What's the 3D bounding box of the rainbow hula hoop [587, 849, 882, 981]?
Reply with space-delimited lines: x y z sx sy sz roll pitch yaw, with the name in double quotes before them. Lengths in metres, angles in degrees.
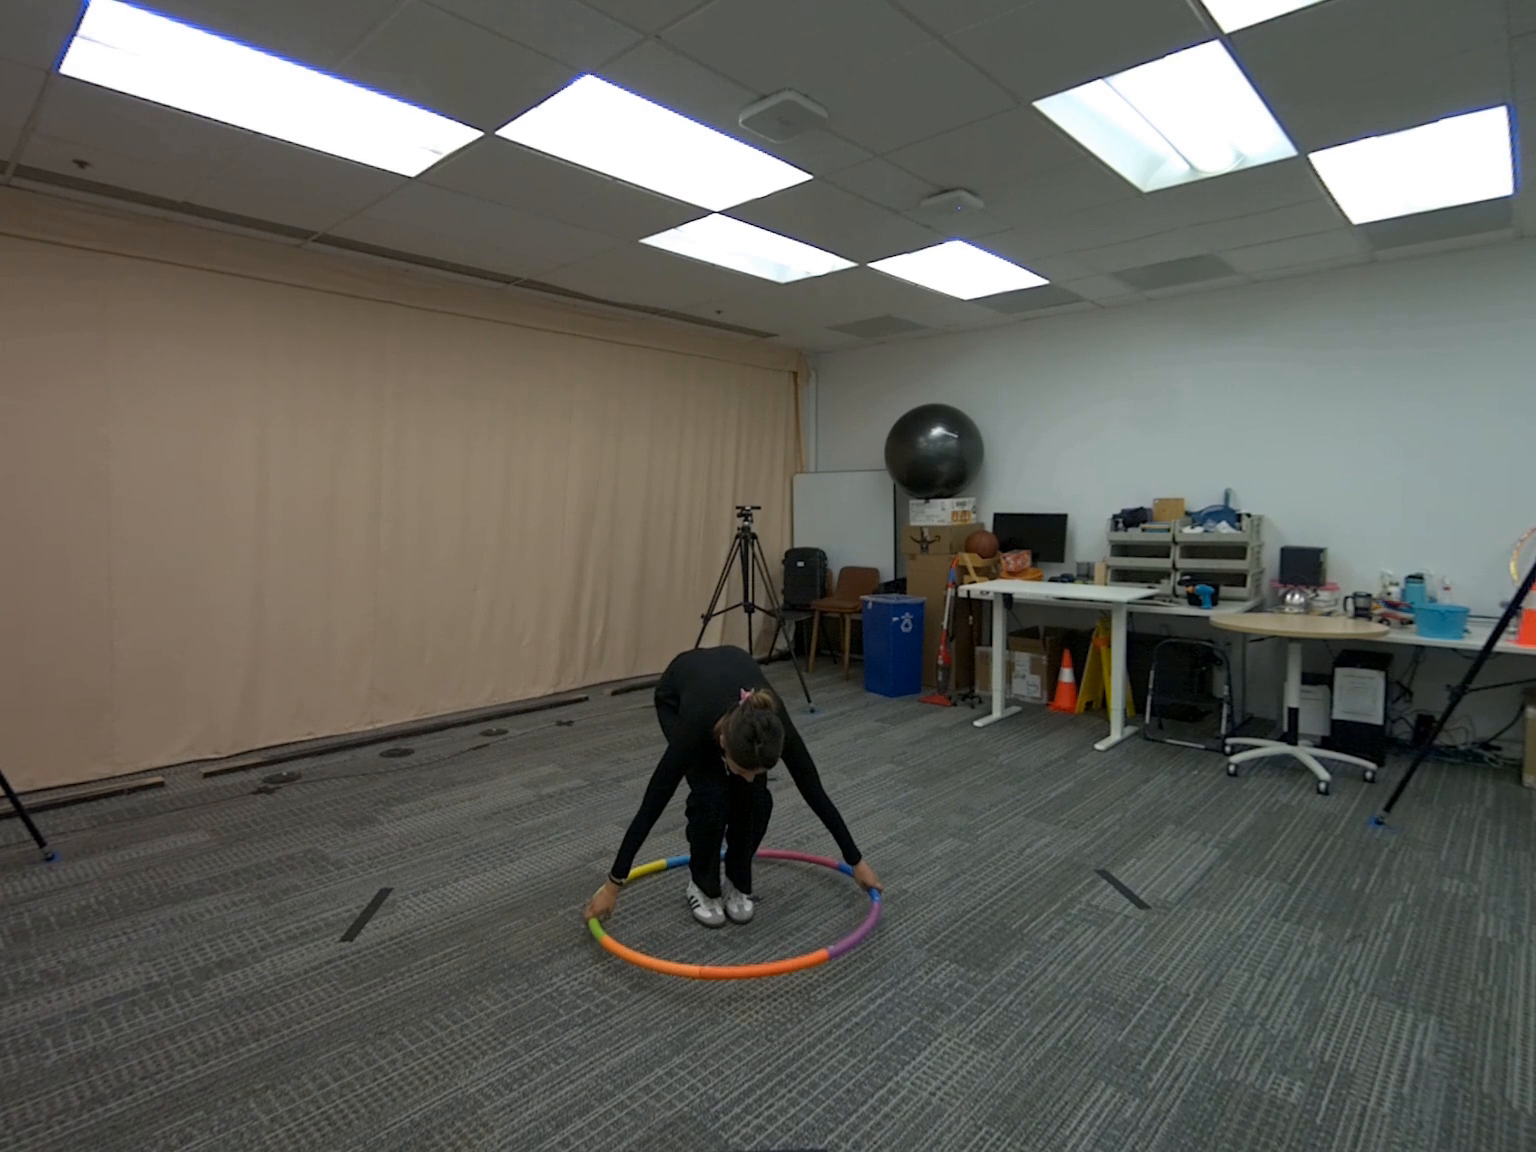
"rainbow hula hoop" -0.108 1.082 2.829 0.978 0.035 0.980 -3 1 -2
